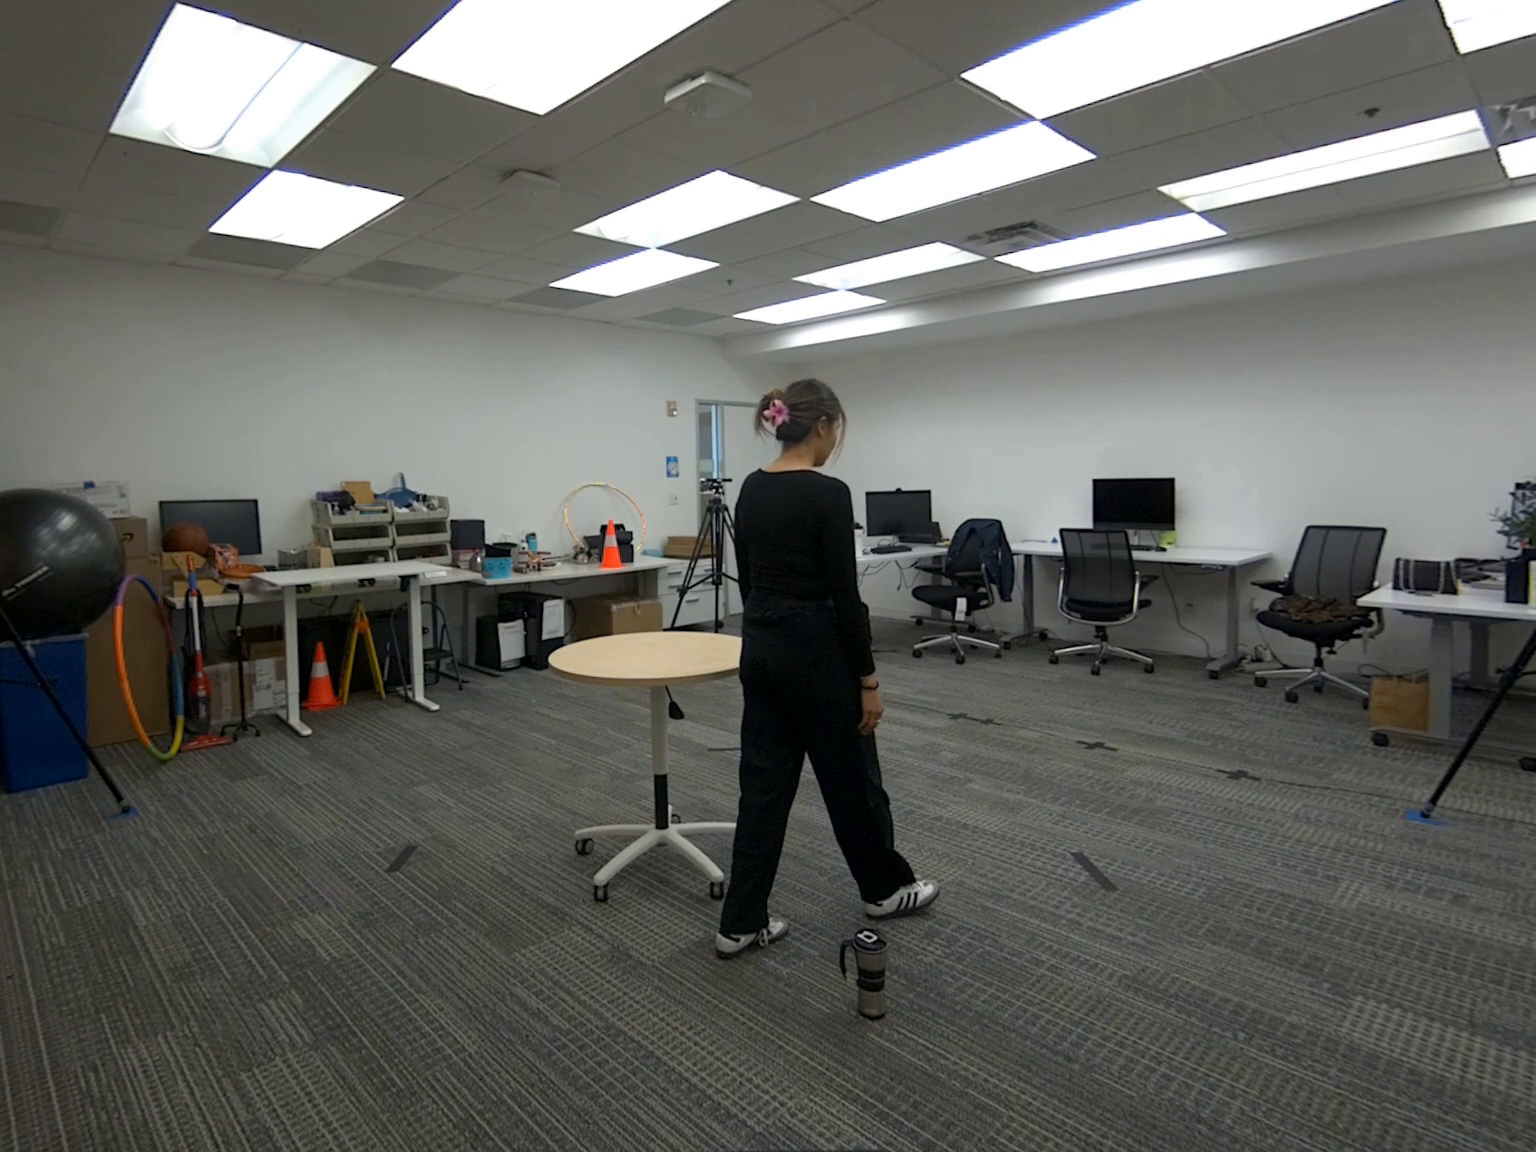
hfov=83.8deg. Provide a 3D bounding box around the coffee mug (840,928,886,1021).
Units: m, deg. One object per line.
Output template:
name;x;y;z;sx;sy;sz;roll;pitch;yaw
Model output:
coffee mug;0.260;1.039;2.236;0.086;0.200;0.126;-11;19;-32
